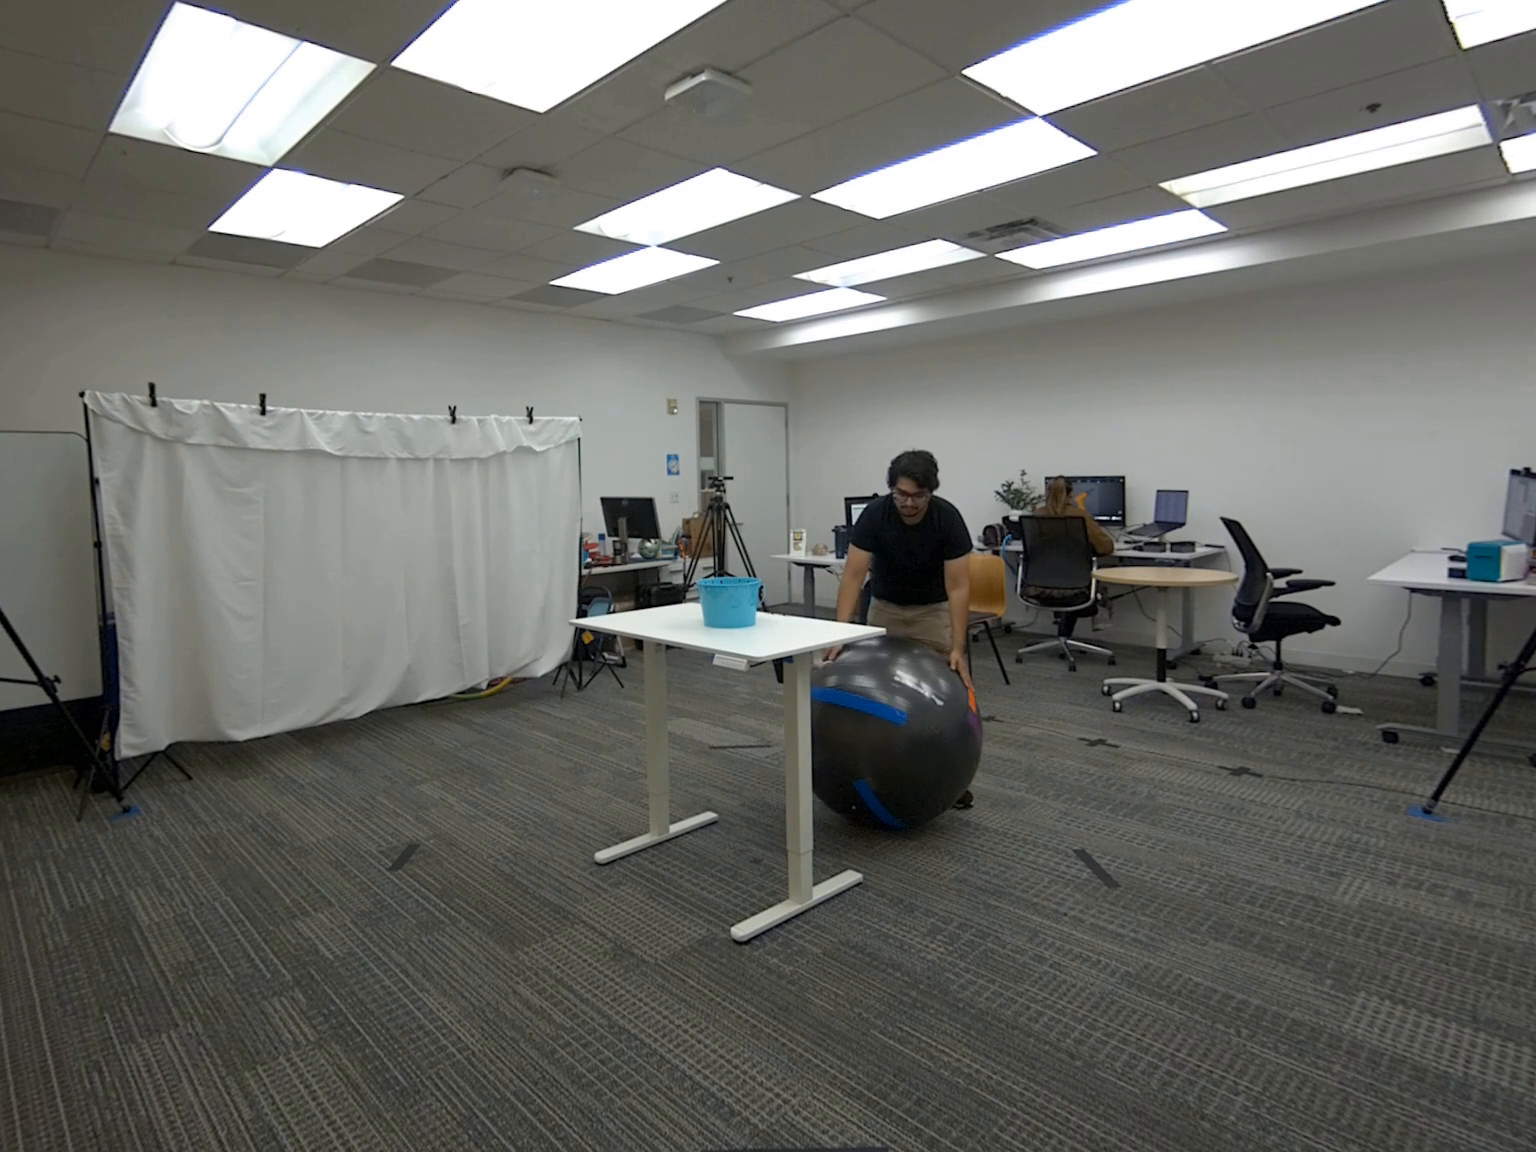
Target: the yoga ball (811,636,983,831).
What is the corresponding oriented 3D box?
[{"bbox_3d":[0.482,0.627,3.443,0.757,0.755,0.762,-1,5,-2],"label":"yoga ball"}]
